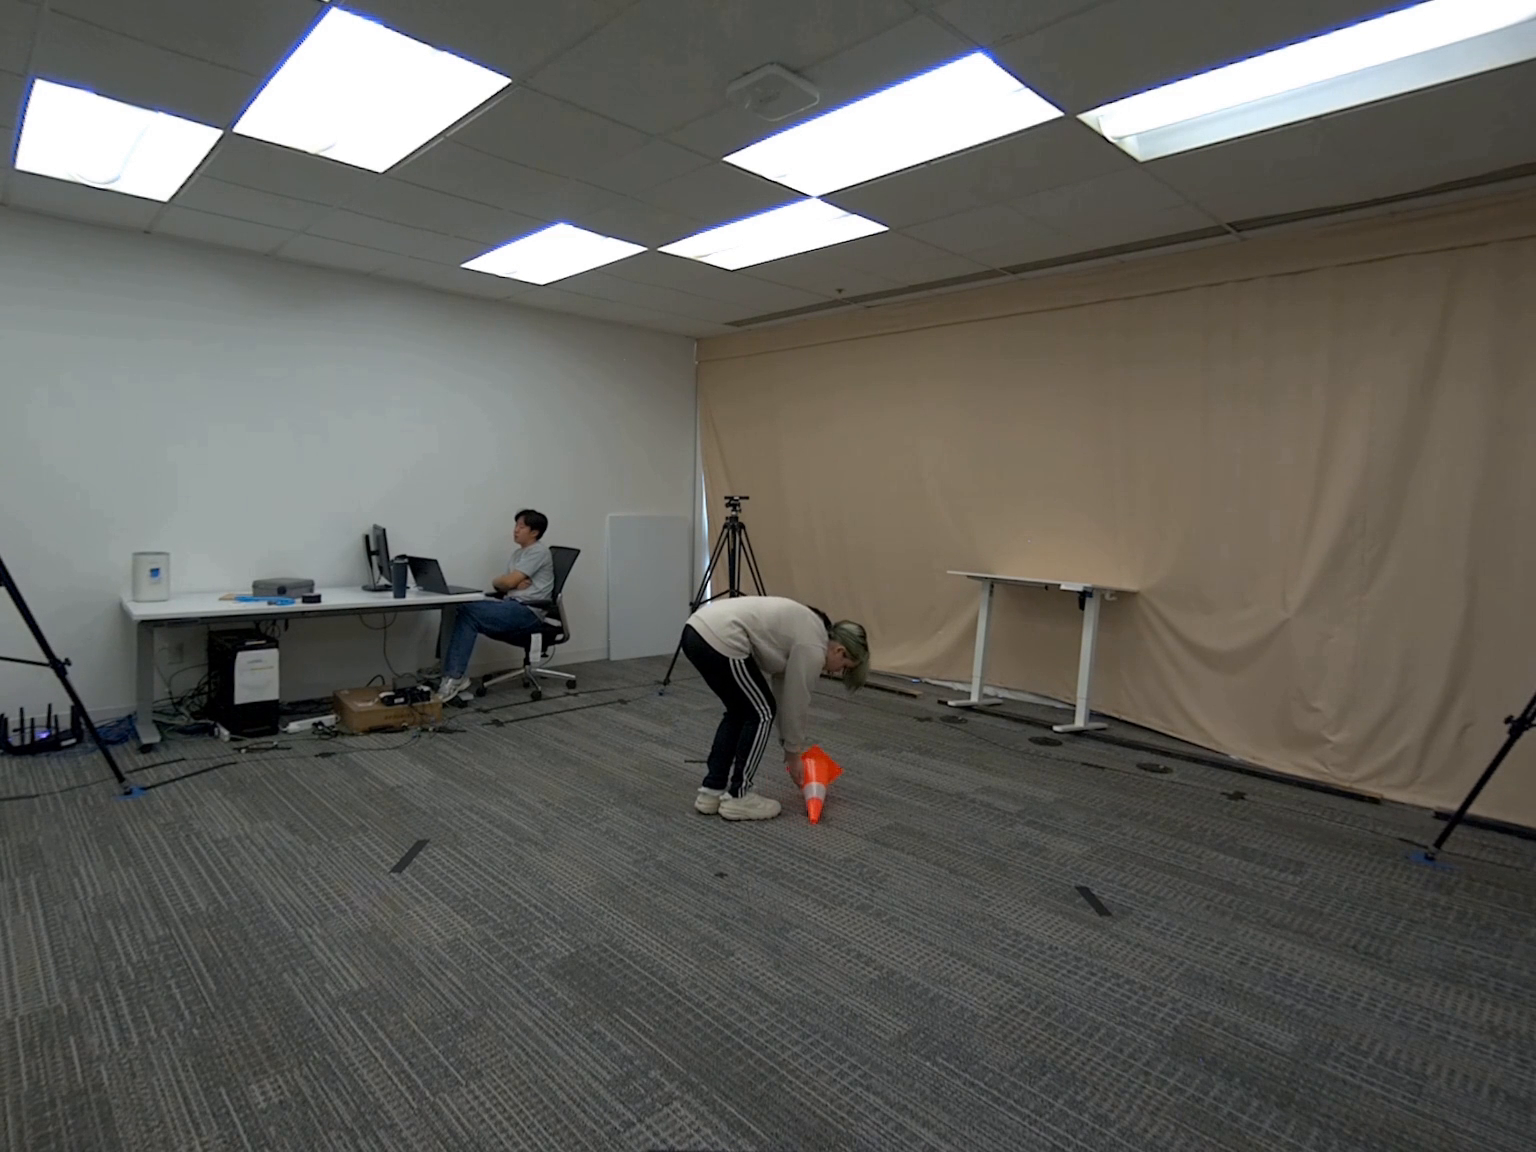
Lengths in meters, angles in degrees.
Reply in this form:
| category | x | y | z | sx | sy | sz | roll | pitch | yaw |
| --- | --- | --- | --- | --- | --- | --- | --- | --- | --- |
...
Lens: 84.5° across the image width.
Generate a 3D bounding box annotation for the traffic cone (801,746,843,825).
| category | x | y | z | sx | sy | sz | roll | pitch | yaw |
| --- | --- | --- | --- | --- | --- | --- | --- | --- | --- |
| traffic cone | 0.201 | 0.996 | 3.796 | 0.202 | 0.203 | 0.389 | 39 | 20 | -14 |
